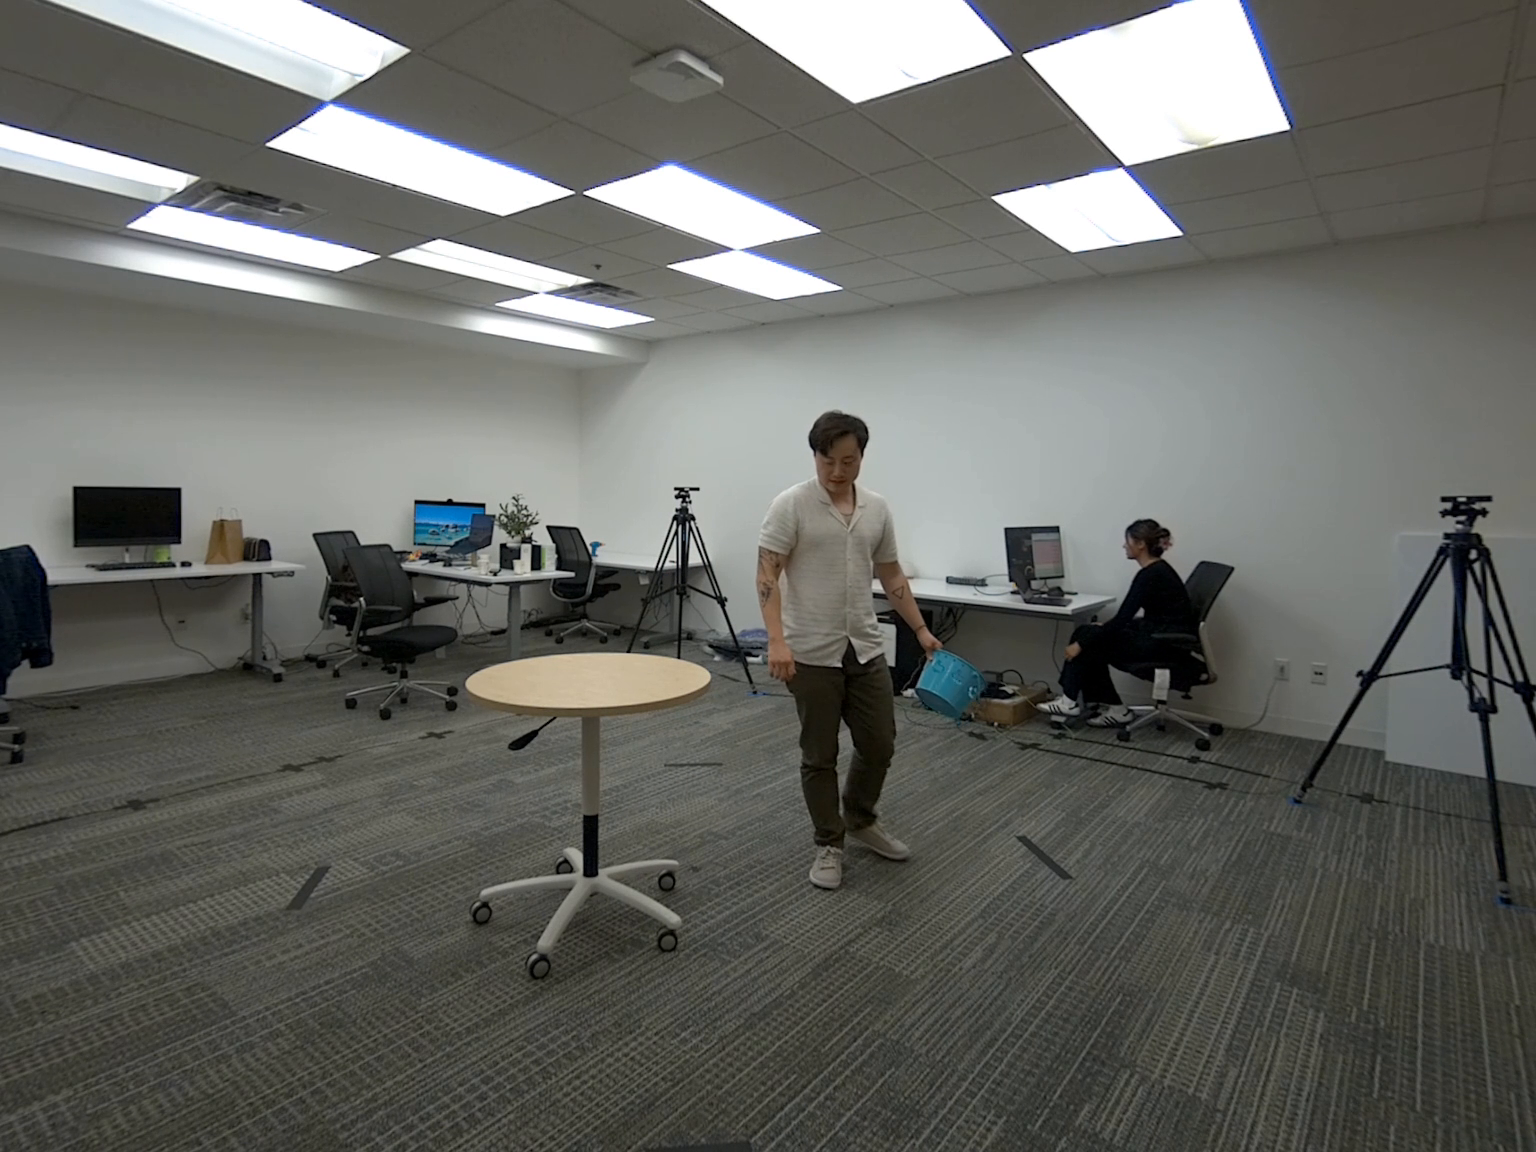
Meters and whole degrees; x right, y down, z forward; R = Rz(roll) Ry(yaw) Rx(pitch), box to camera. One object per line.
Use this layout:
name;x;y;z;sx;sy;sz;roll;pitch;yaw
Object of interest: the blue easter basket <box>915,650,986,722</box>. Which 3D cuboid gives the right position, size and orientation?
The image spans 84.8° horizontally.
blue easter basket;0.647;0.403;3.080;0.248;0.156;0.239;35;-17;10
